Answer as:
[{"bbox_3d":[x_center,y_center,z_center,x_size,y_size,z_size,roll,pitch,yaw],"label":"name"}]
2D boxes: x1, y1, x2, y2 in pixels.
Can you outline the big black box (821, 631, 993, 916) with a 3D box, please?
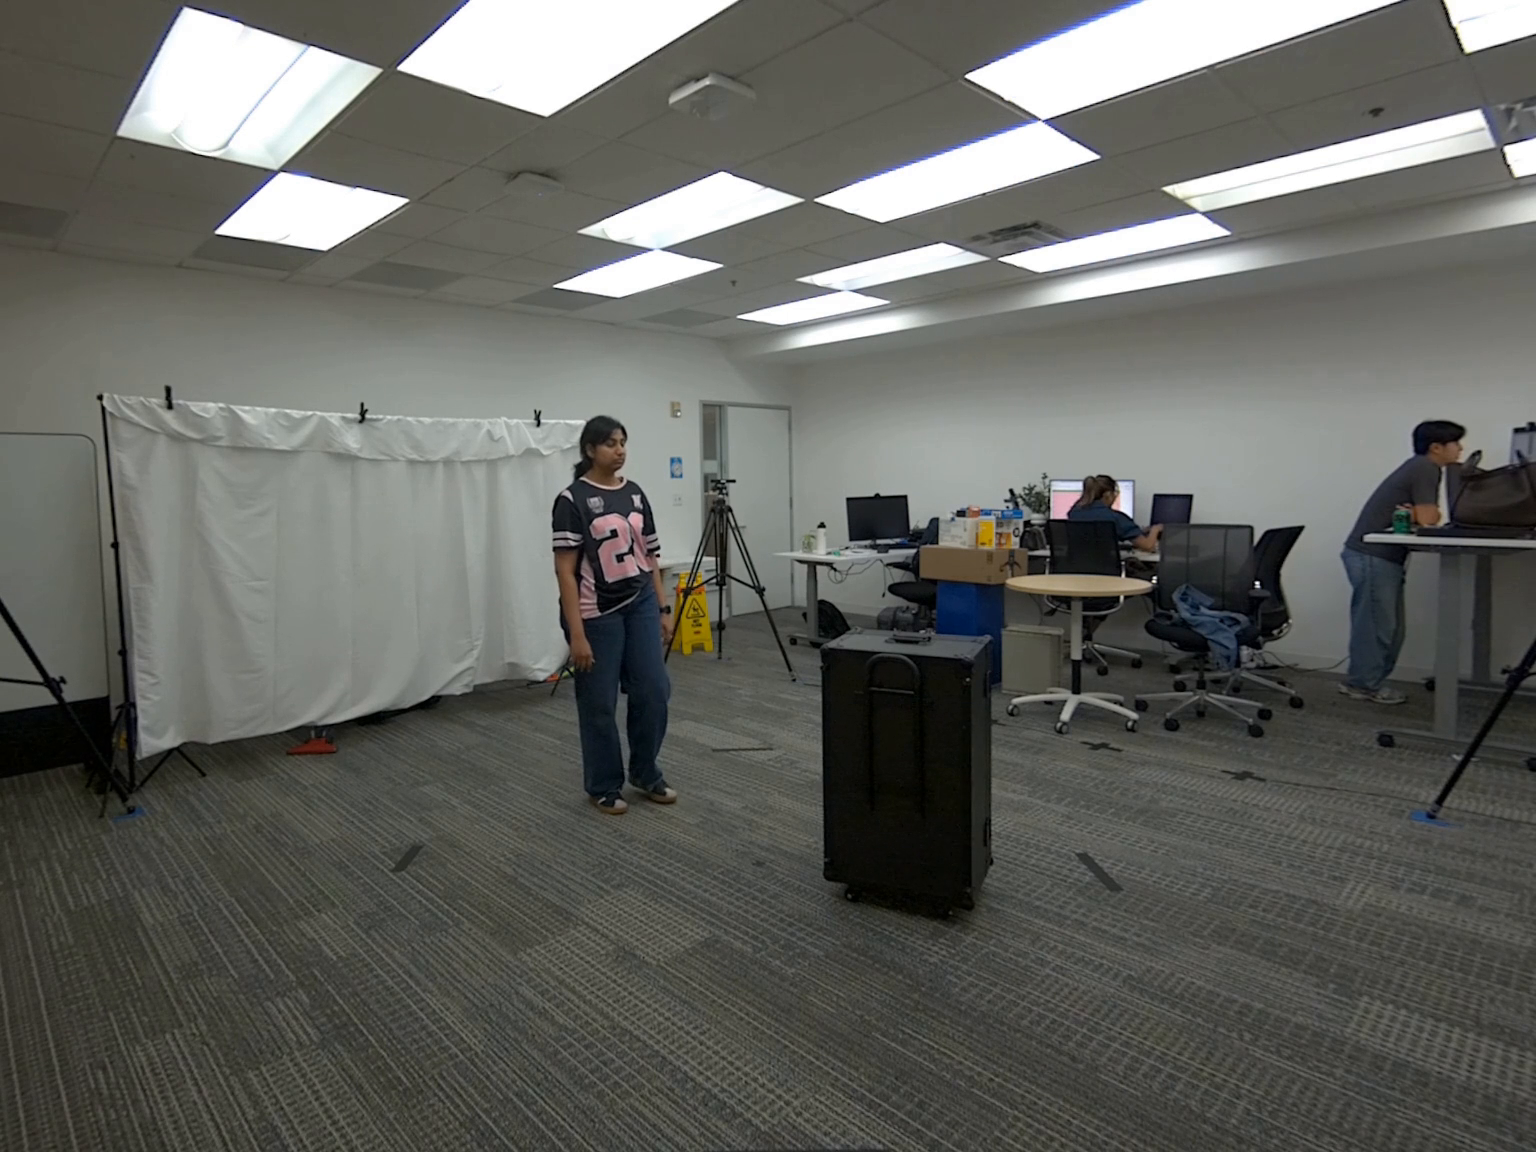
[{"bbox_3d":[0.475,0.644,2.838,0.536,0.865,0.378,1,5,26],"label":"big black box"}]
